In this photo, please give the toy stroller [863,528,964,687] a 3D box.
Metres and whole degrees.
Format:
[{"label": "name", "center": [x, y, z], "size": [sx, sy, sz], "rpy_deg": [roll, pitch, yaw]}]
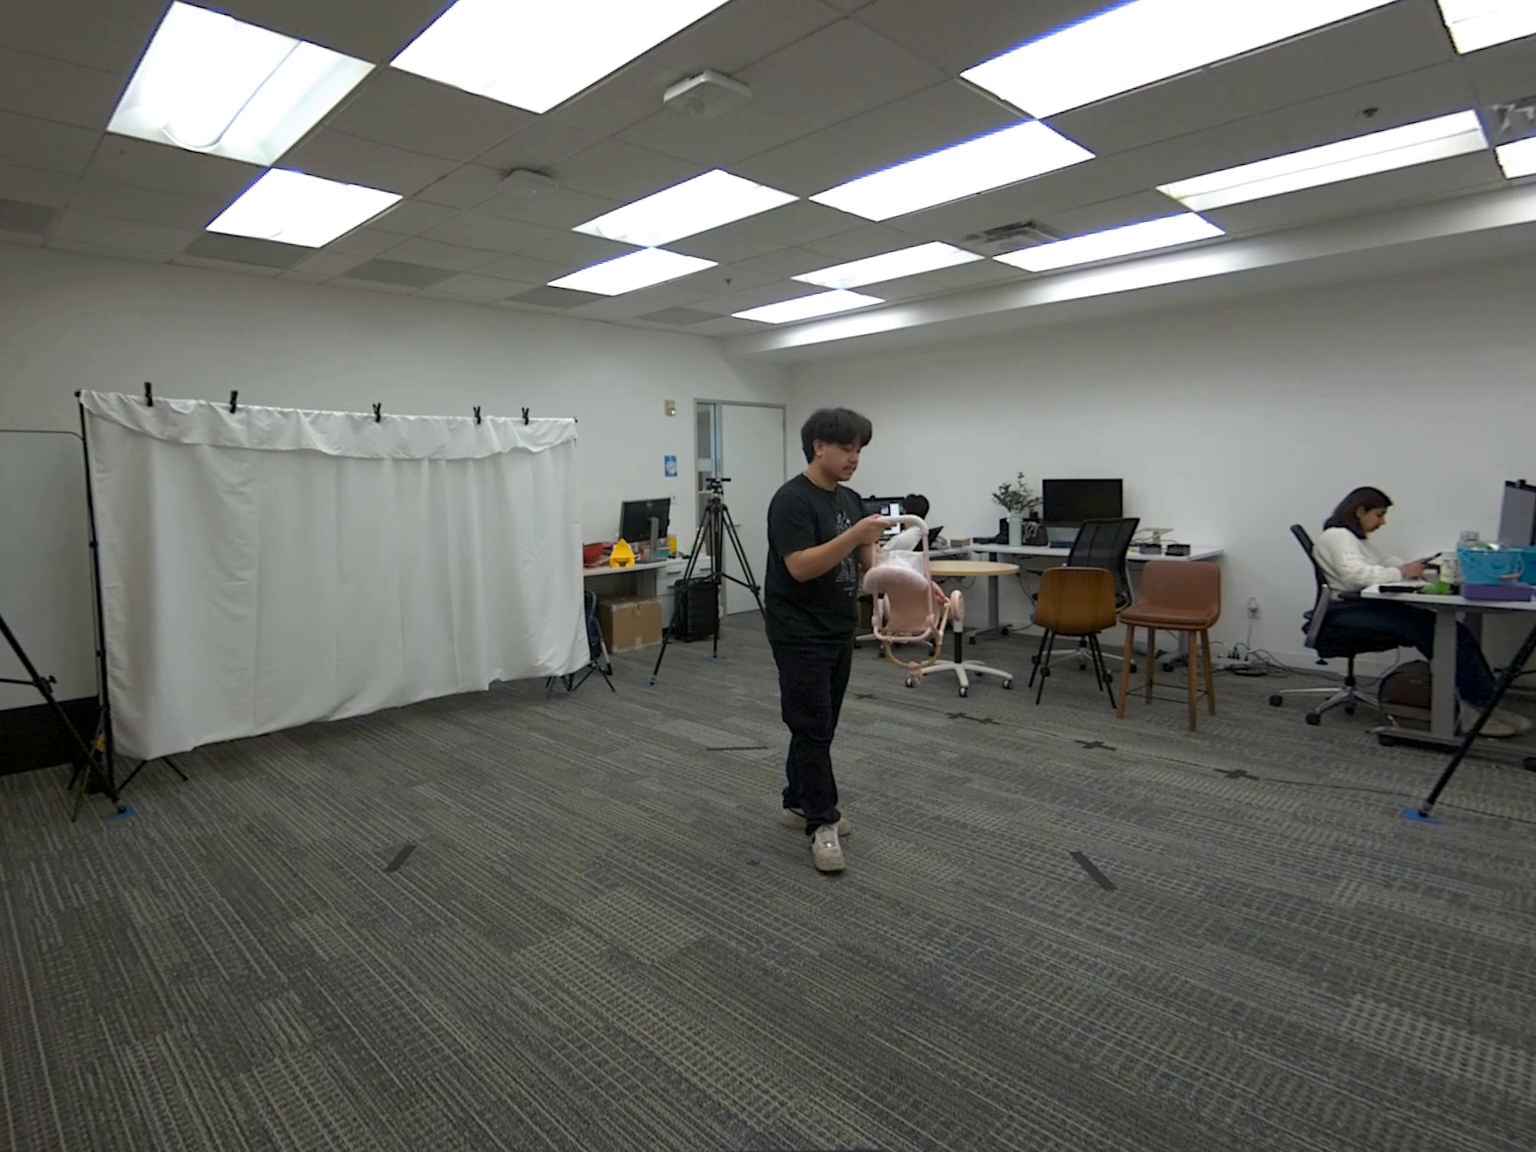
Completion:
[{"label": "toy stroller", "center": [0.471, 0.097, 2.946], "size": [0.289, 0.345, 0.515], "rpy_deg": [2, -39, 32]}]
